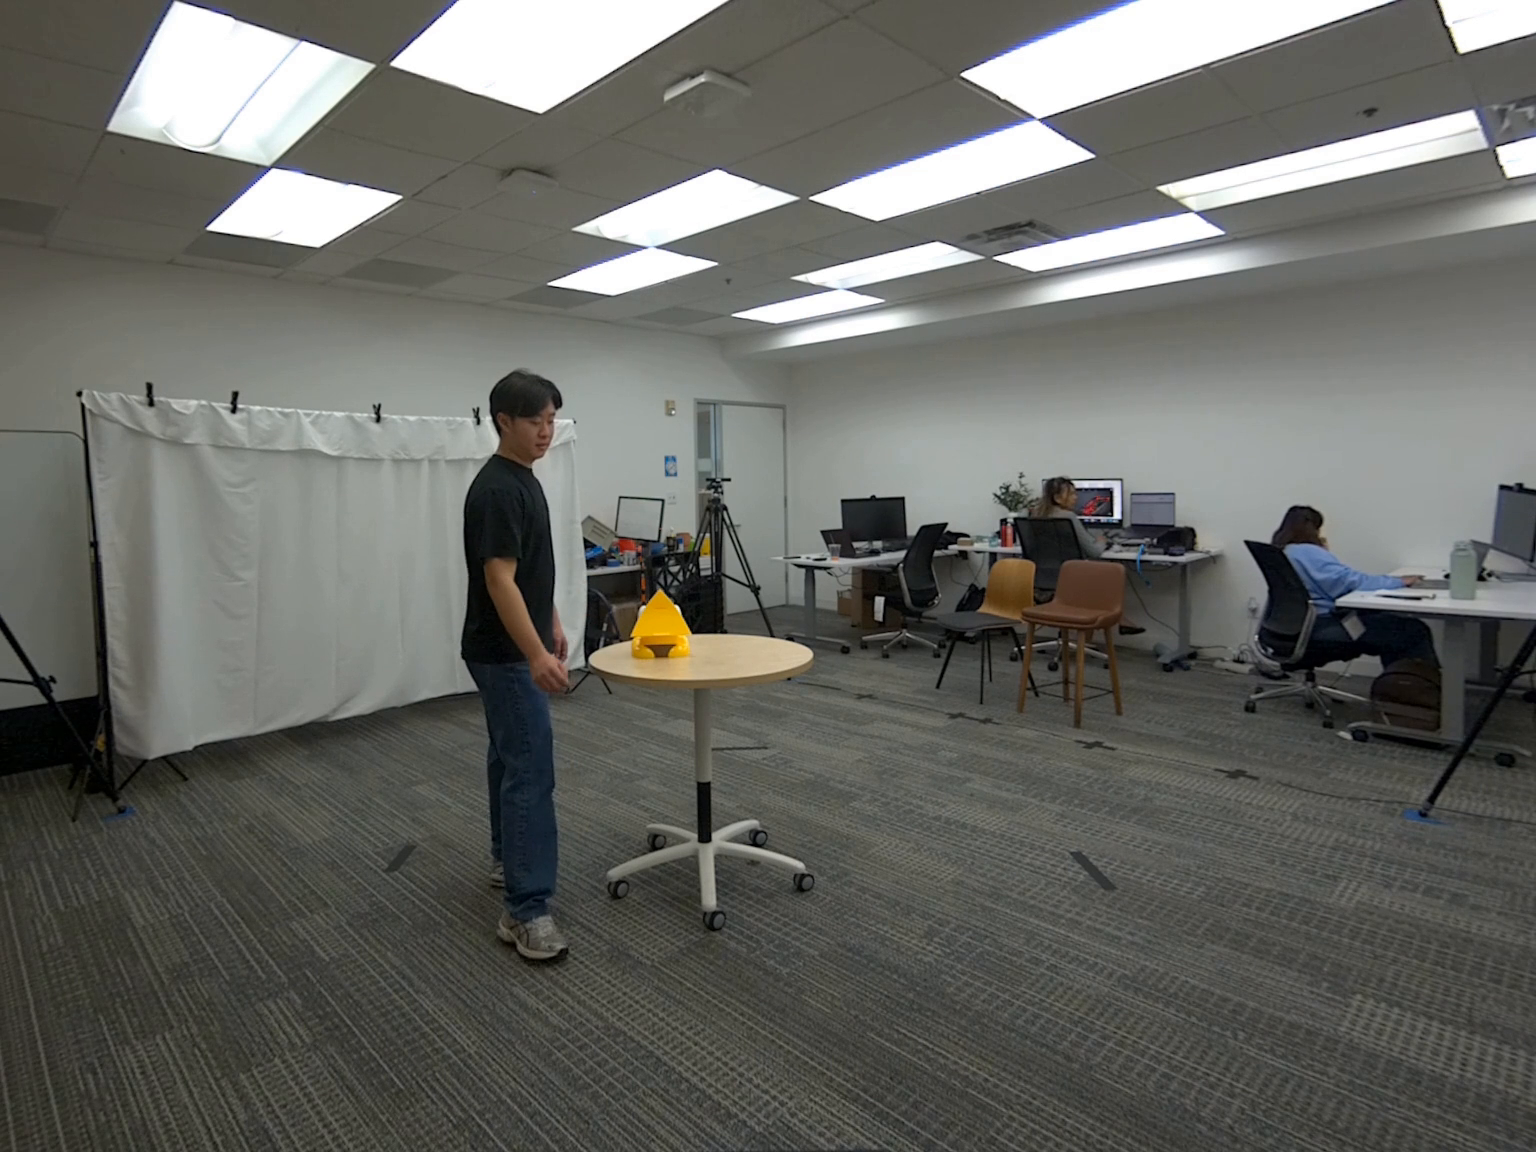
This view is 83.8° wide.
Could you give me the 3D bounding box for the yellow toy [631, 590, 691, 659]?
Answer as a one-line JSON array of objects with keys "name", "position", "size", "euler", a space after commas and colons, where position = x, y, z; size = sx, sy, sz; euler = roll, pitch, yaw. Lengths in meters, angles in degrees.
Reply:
[{"name": "yellow toy", "position": [-0.372, 0.153, 2.946], "size": [0.203, 0.229, 0.195], "euler": [-2, 6, -9]}]
